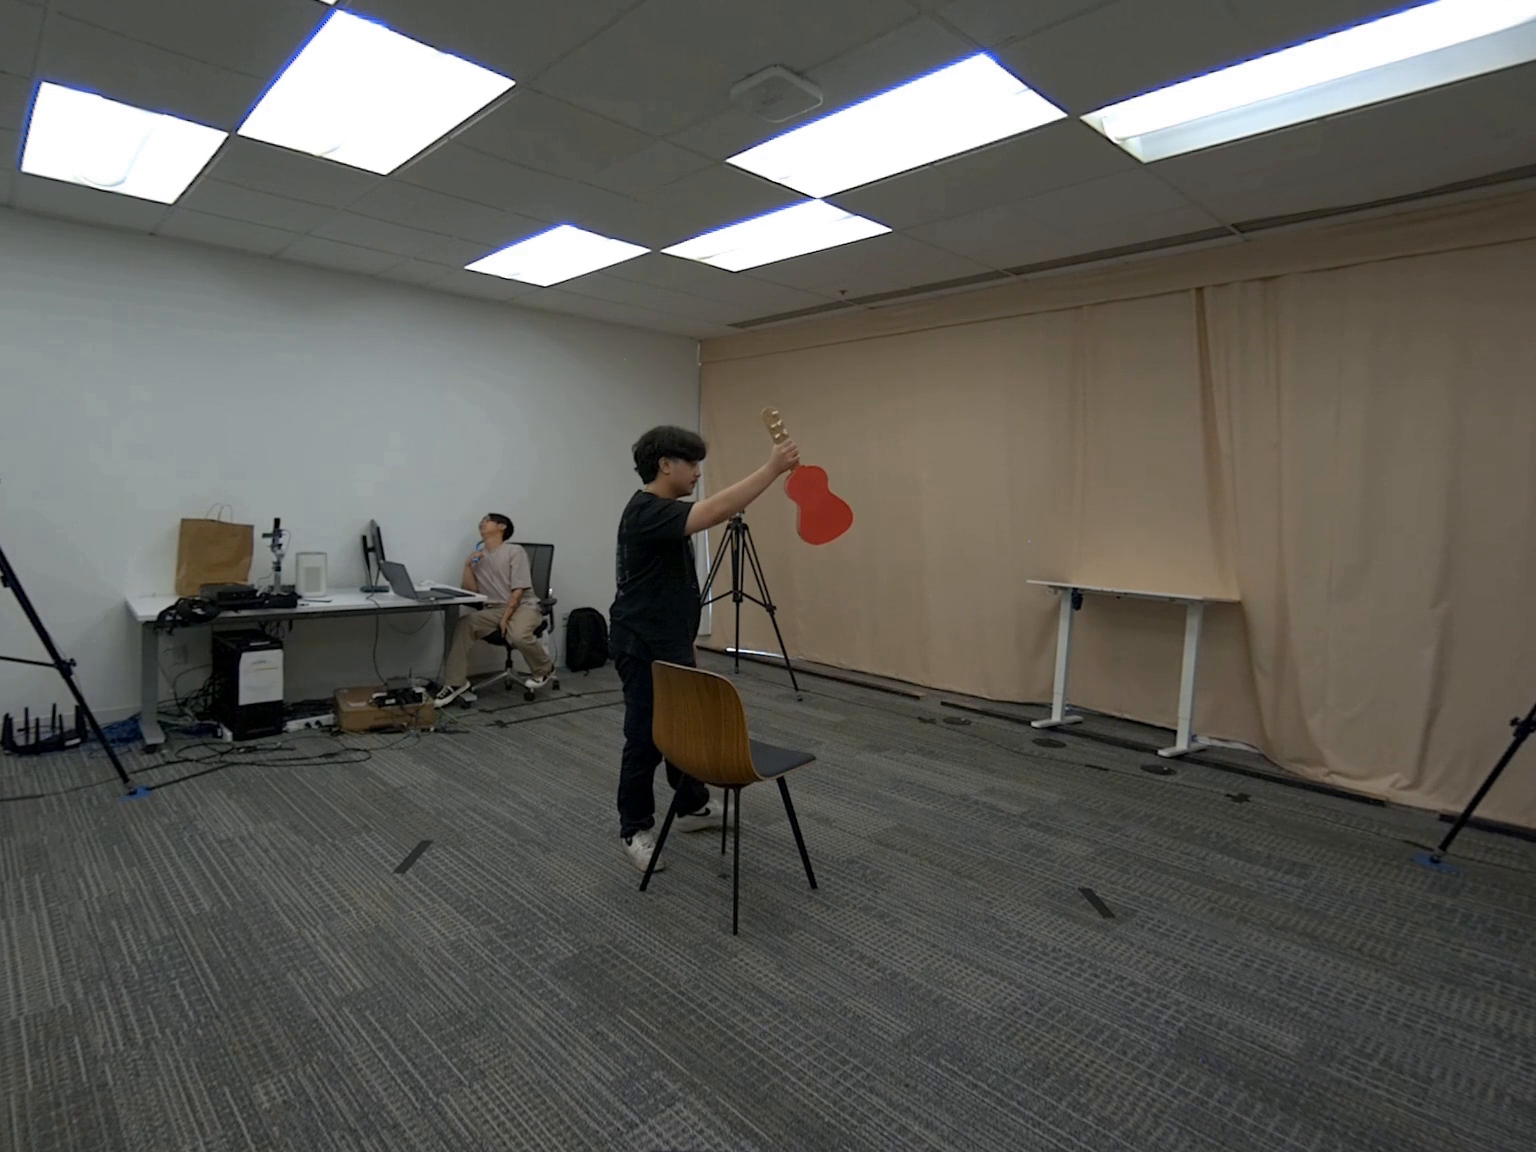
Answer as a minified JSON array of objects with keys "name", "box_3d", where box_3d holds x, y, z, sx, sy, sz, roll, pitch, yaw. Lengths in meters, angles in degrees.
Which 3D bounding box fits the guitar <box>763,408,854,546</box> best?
[{"name":"guitar","box_3d":[0.085,-0.332,2.887,0.193,0.494,0.071,-36,6,-3]}]
